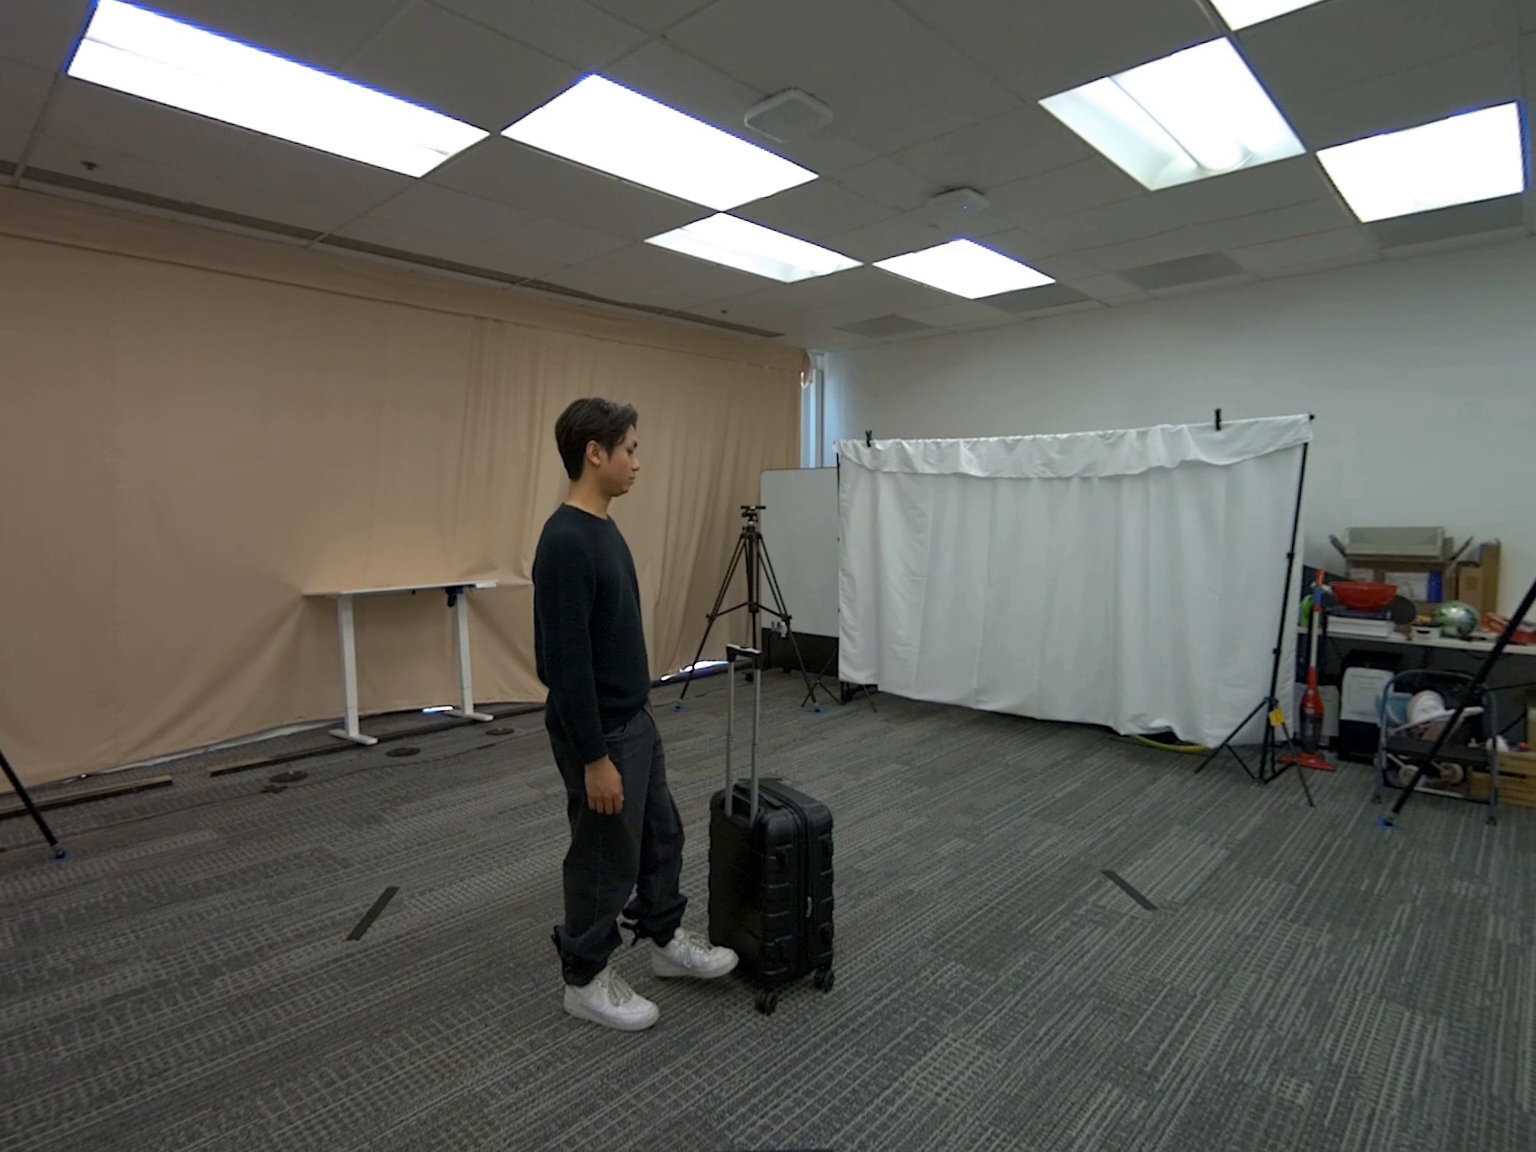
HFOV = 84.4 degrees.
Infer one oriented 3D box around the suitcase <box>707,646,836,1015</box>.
[{"bbox_3d":[0.018,0.707,2.499,0.249,0.978,0.396,1,1,-34],"label":"suitcase"}]
